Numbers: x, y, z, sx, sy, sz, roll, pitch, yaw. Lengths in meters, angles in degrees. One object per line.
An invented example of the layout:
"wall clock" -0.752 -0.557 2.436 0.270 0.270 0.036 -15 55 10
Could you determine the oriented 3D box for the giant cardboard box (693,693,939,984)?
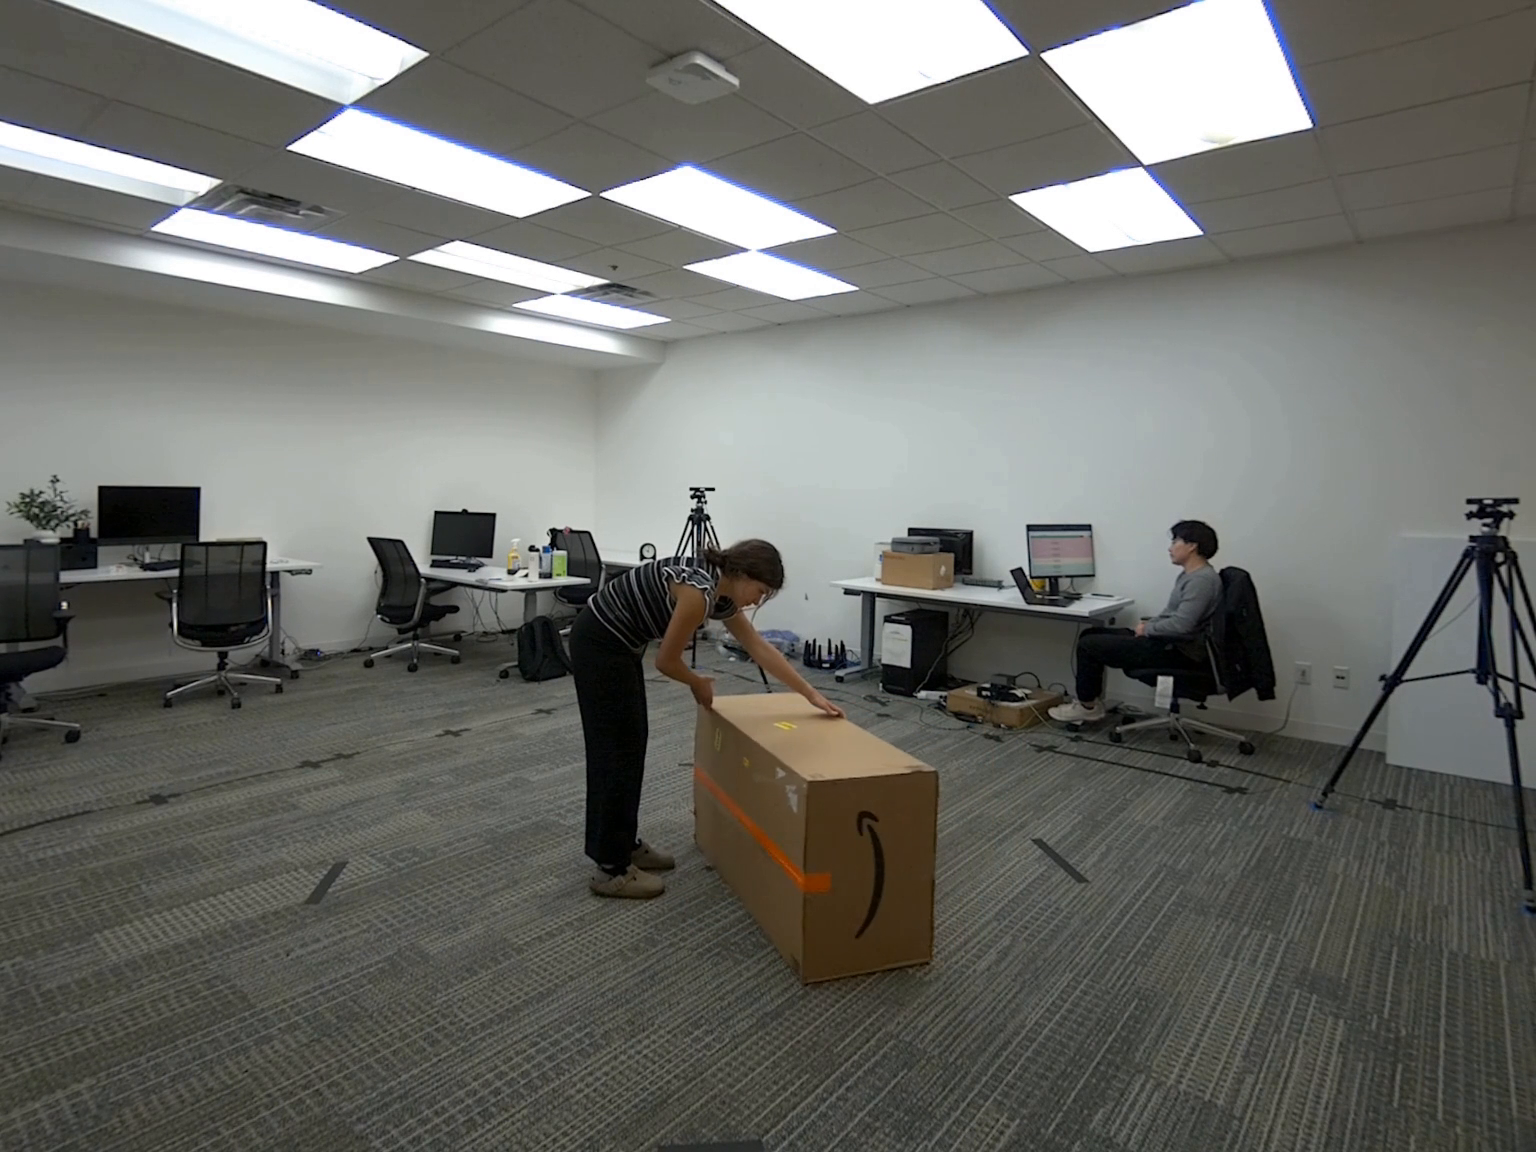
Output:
"giant cardboard box" 0.096 0.796 2.915 0.417 0.576 1.050 -1 5 -22
